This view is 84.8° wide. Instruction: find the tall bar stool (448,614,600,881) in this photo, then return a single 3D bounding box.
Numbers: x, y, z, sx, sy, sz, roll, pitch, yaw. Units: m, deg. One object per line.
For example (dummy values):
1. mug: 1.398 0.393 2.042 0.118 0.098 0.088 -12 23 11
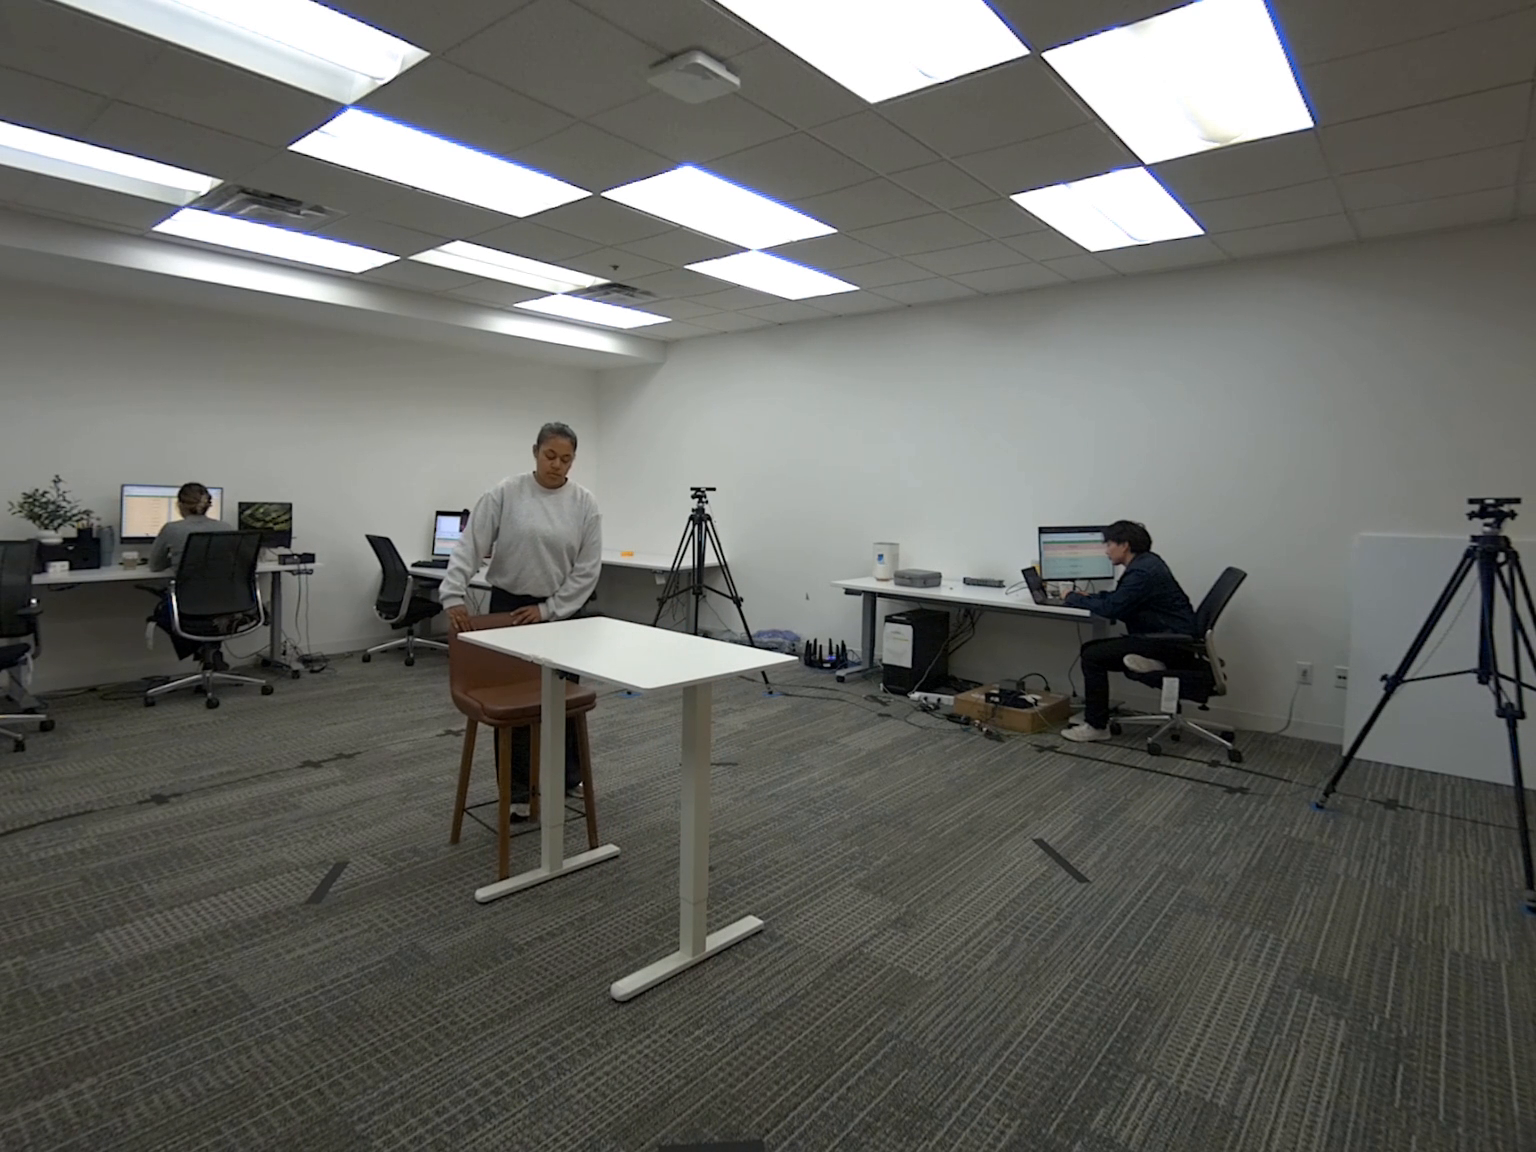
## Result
1. tall bar stool: -0.954 0.599 3.239 0.442 0.889 0.483 -2 2 -45
